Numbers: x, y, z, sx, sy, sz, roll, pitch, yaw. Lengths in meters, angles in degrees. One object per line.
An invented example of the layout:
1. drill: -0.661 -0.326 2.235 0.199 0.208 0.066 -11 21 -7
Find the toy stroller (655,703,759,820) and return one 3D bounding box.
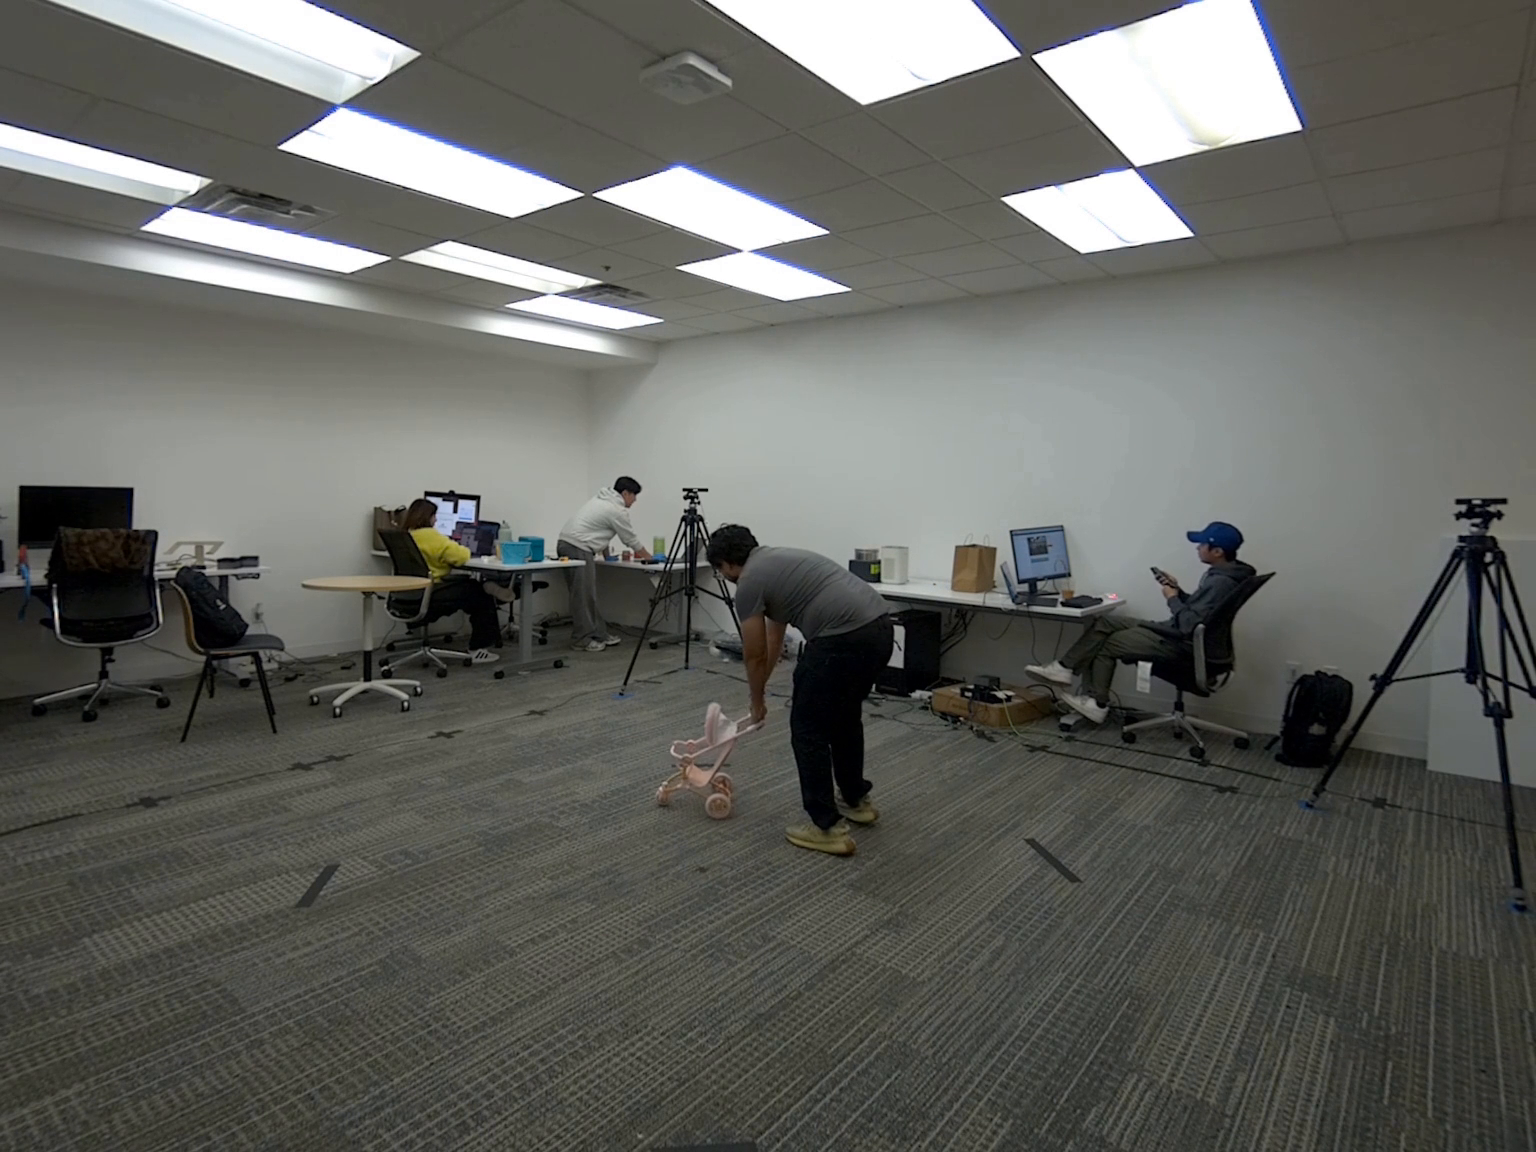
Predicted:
1. toy stroller: -0.274 0.788 3.711 0.344 0.533 0.280 19 7 5
